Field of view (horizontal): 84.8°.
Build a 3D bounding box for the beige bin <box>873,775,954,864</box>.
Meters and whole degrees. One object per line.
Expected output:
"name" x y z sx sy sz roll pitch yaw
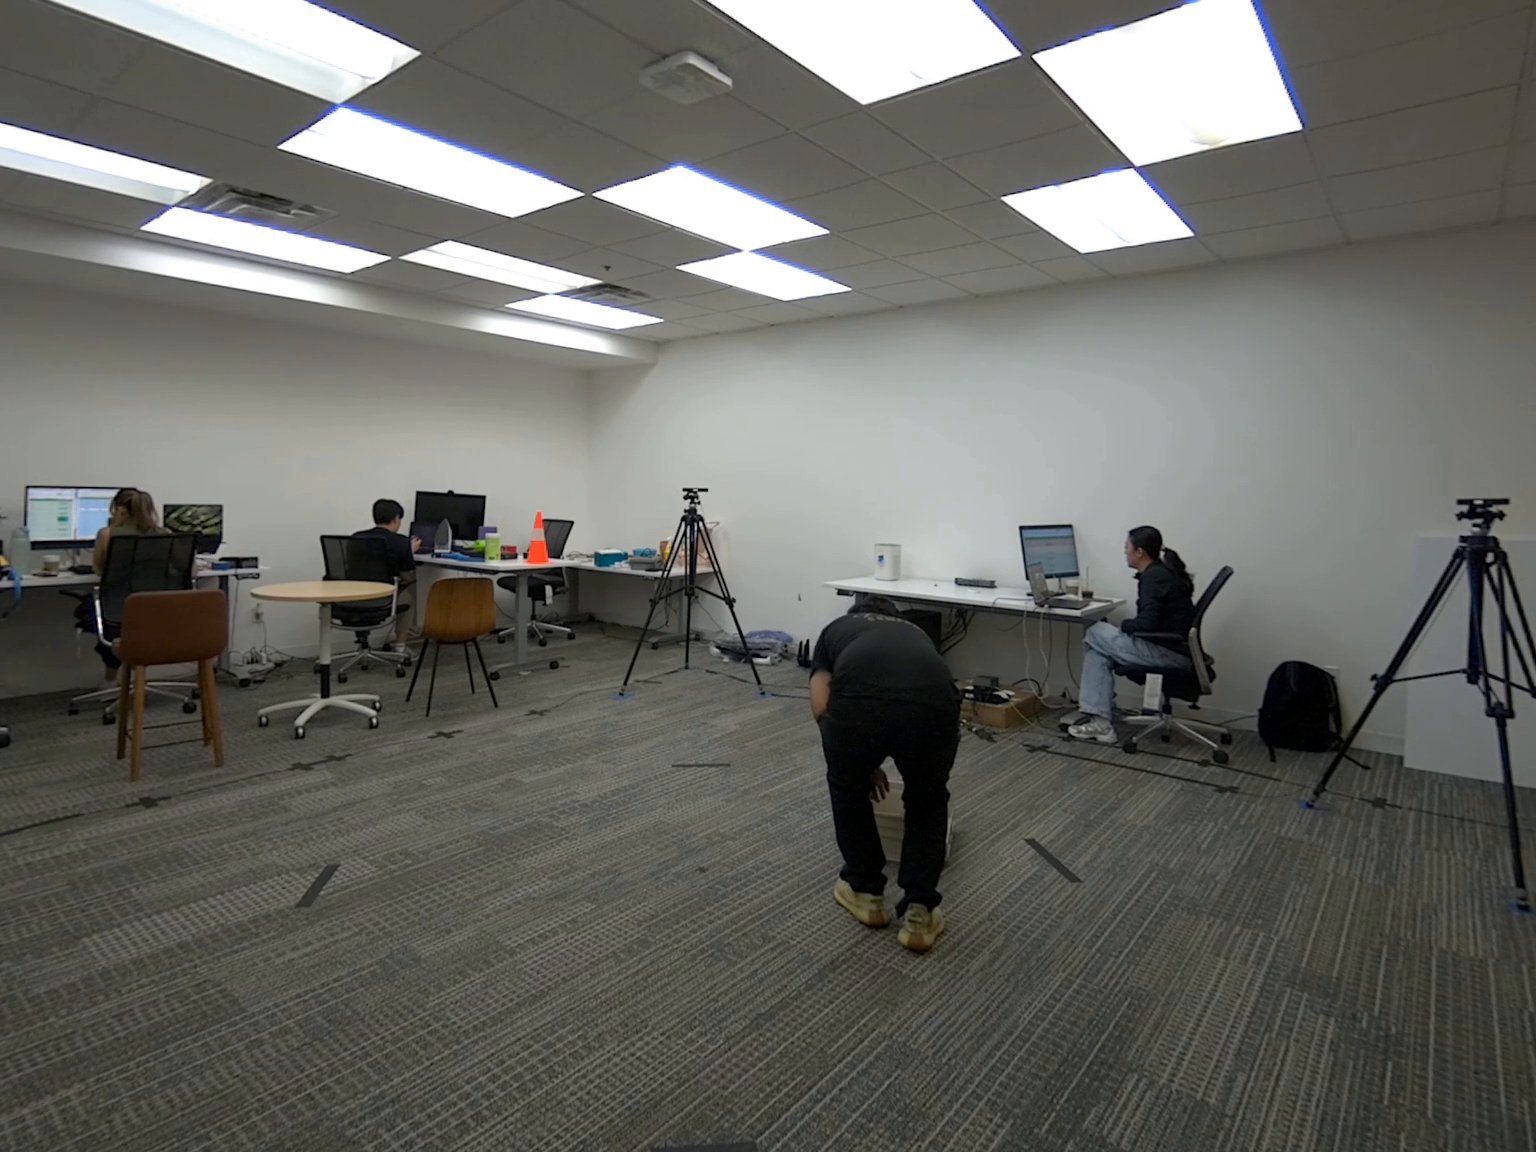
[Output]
"beige bin" 0.534 0.963 3.394 0.385 0.188 0.416 2 5 17
